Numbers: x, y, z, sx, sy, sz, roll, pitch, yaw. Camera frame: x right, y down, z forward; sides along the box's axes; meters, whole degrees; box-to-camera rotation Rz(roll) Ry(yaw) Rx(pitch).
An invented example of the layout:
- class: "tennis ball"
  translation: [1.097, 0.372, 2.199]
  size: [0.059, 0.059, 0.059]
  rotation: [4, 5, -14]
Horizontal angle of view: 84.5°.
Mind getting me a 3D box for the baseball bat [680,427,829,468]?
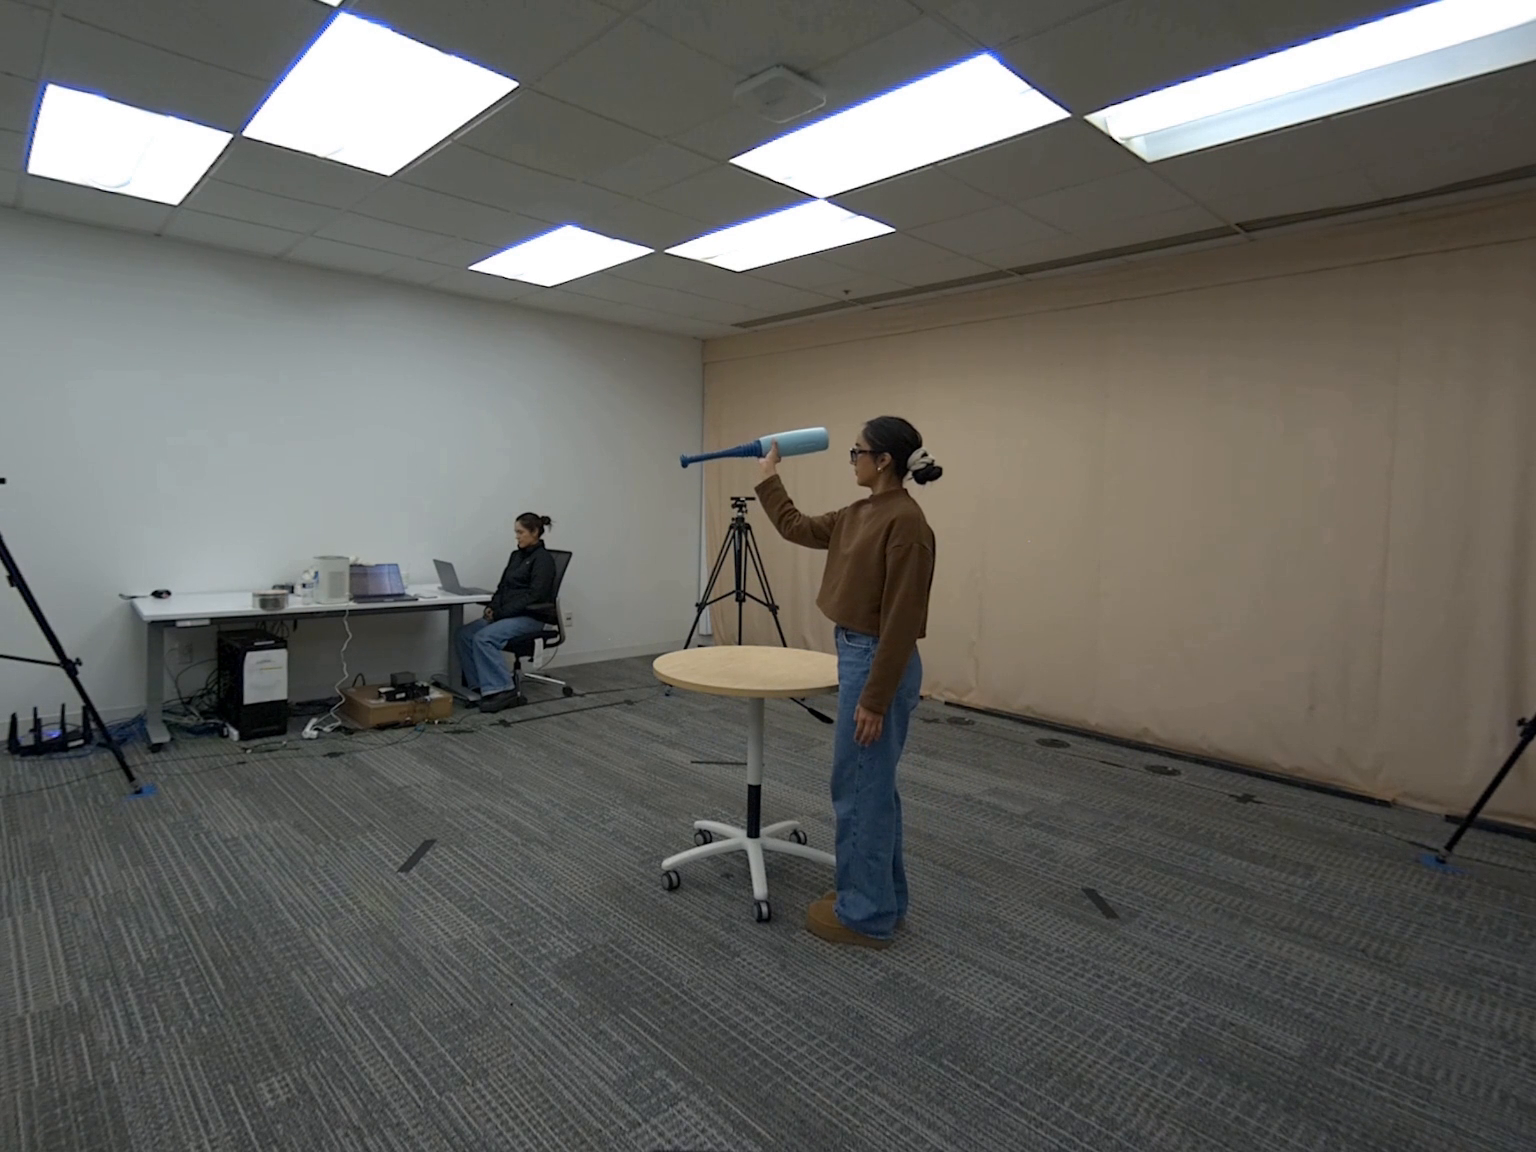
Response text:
- class: "baseball bat"
  translation: [-0.054, -0.451, 3.023]
  size: [0.541, 0.088, 0.090]
  rotation: [-11, 6, -6]
